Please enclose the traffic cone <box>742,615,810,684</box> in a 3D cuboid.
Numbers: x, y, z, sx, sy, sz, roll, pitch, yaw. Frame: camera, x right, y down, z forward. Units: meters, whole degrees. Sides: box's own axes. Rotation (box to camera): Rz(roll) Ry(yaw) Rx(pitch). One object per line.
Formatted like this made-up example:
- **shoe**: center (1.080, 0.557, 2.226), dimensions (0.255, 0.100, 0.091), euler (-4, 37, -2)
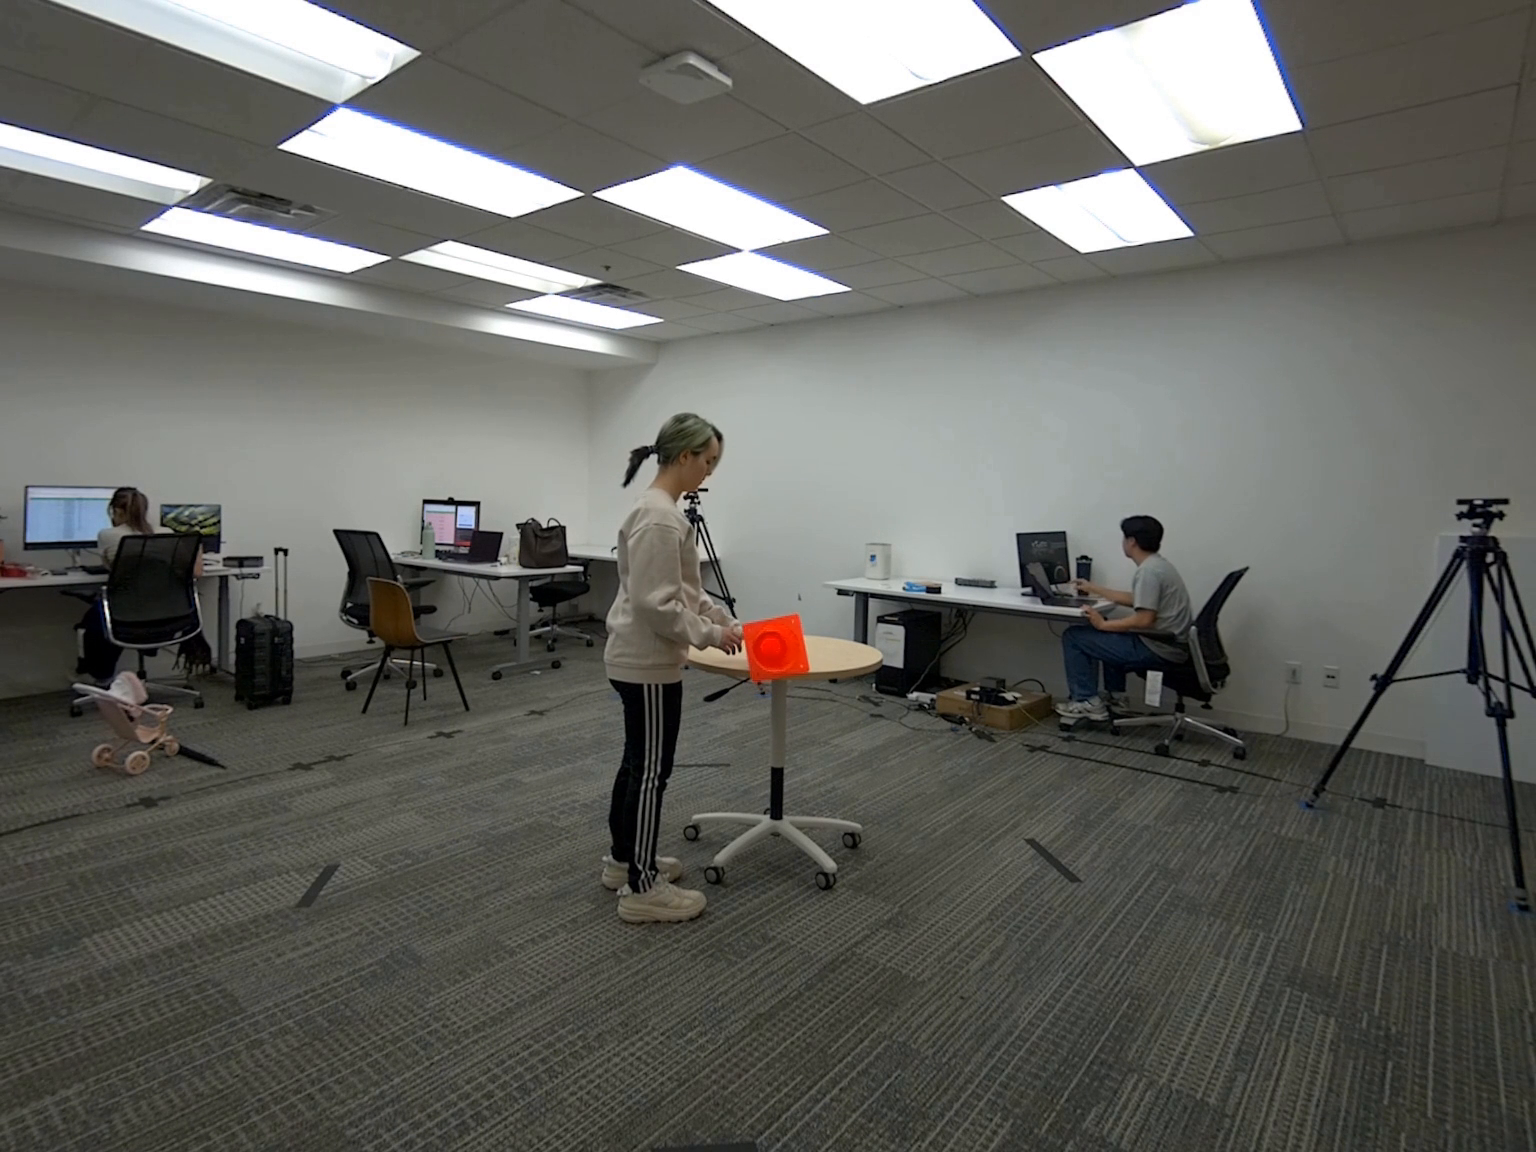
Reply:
- **traffic cone**: center (0.006, 0.259, 3.026), dimensions (0.204, 0.205, 0.382), euler (-10, -5, -6)
